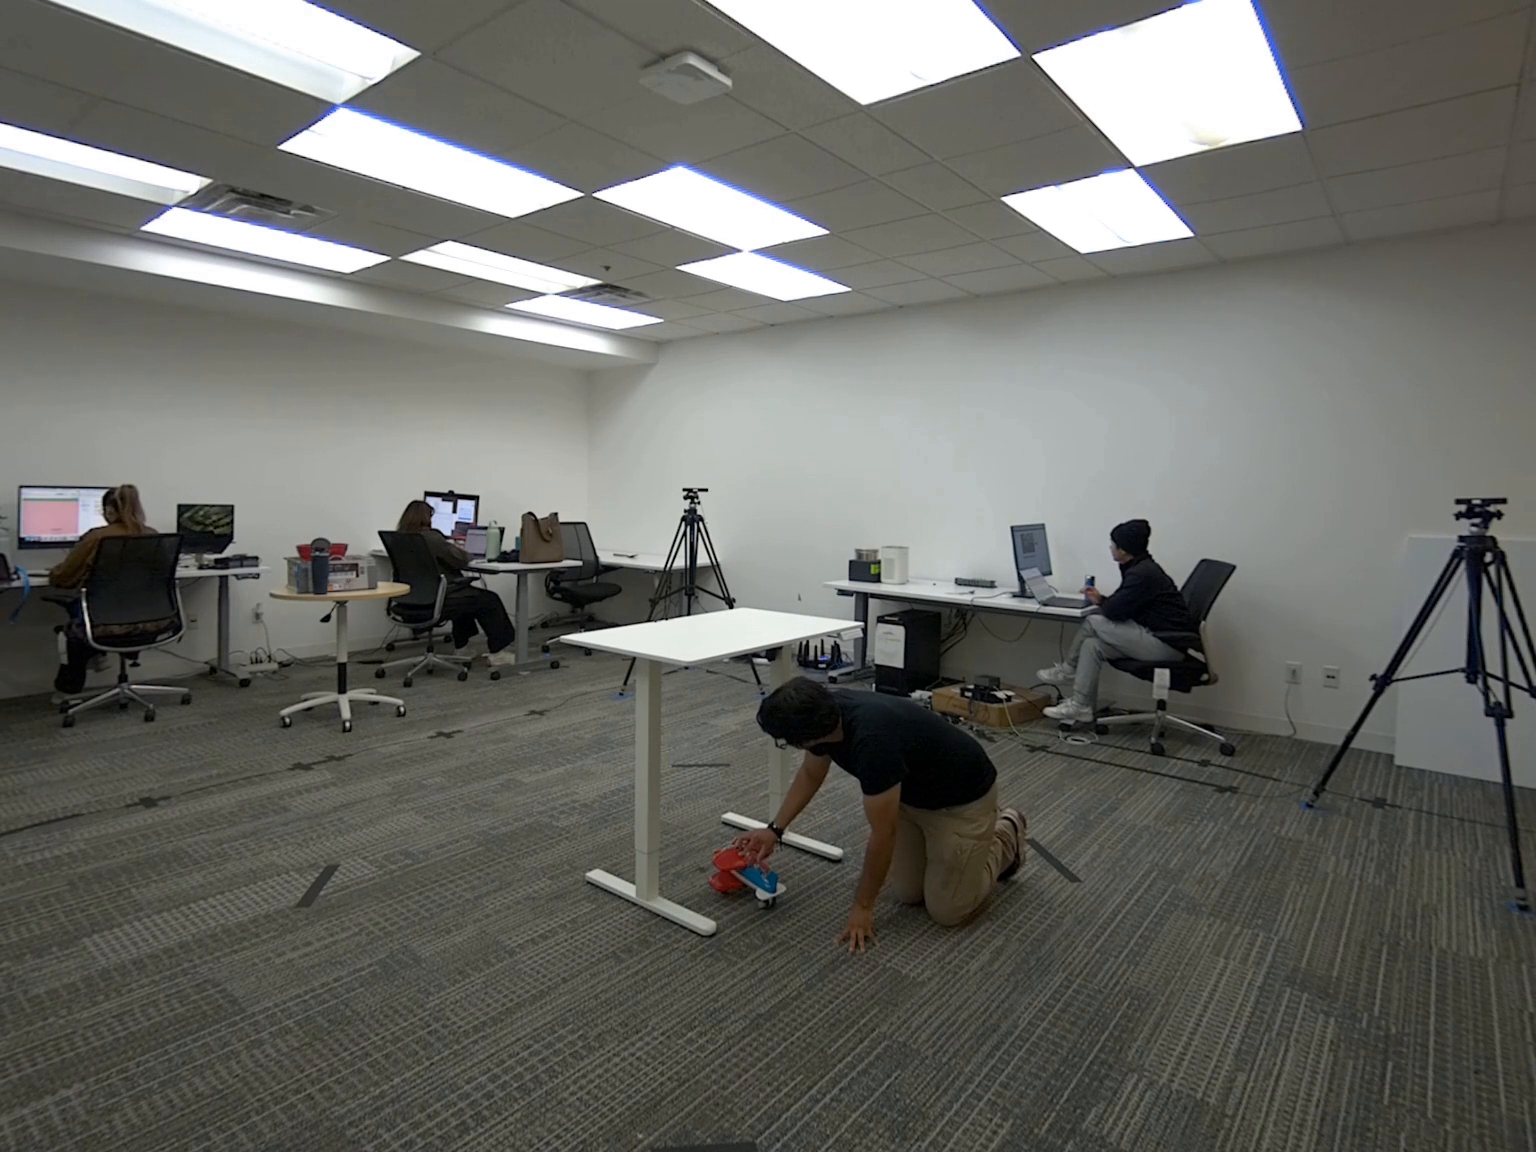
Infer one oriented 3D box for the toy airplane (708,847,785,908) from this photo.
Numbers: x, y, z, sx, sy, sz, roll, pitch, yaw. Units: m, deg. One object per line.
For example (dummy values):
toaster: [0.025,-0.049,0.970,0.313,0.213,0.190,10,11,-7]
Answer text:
toy airplane: [-0.063,1.020,2.922,0.264,0.156,0.247,1,5,19]
